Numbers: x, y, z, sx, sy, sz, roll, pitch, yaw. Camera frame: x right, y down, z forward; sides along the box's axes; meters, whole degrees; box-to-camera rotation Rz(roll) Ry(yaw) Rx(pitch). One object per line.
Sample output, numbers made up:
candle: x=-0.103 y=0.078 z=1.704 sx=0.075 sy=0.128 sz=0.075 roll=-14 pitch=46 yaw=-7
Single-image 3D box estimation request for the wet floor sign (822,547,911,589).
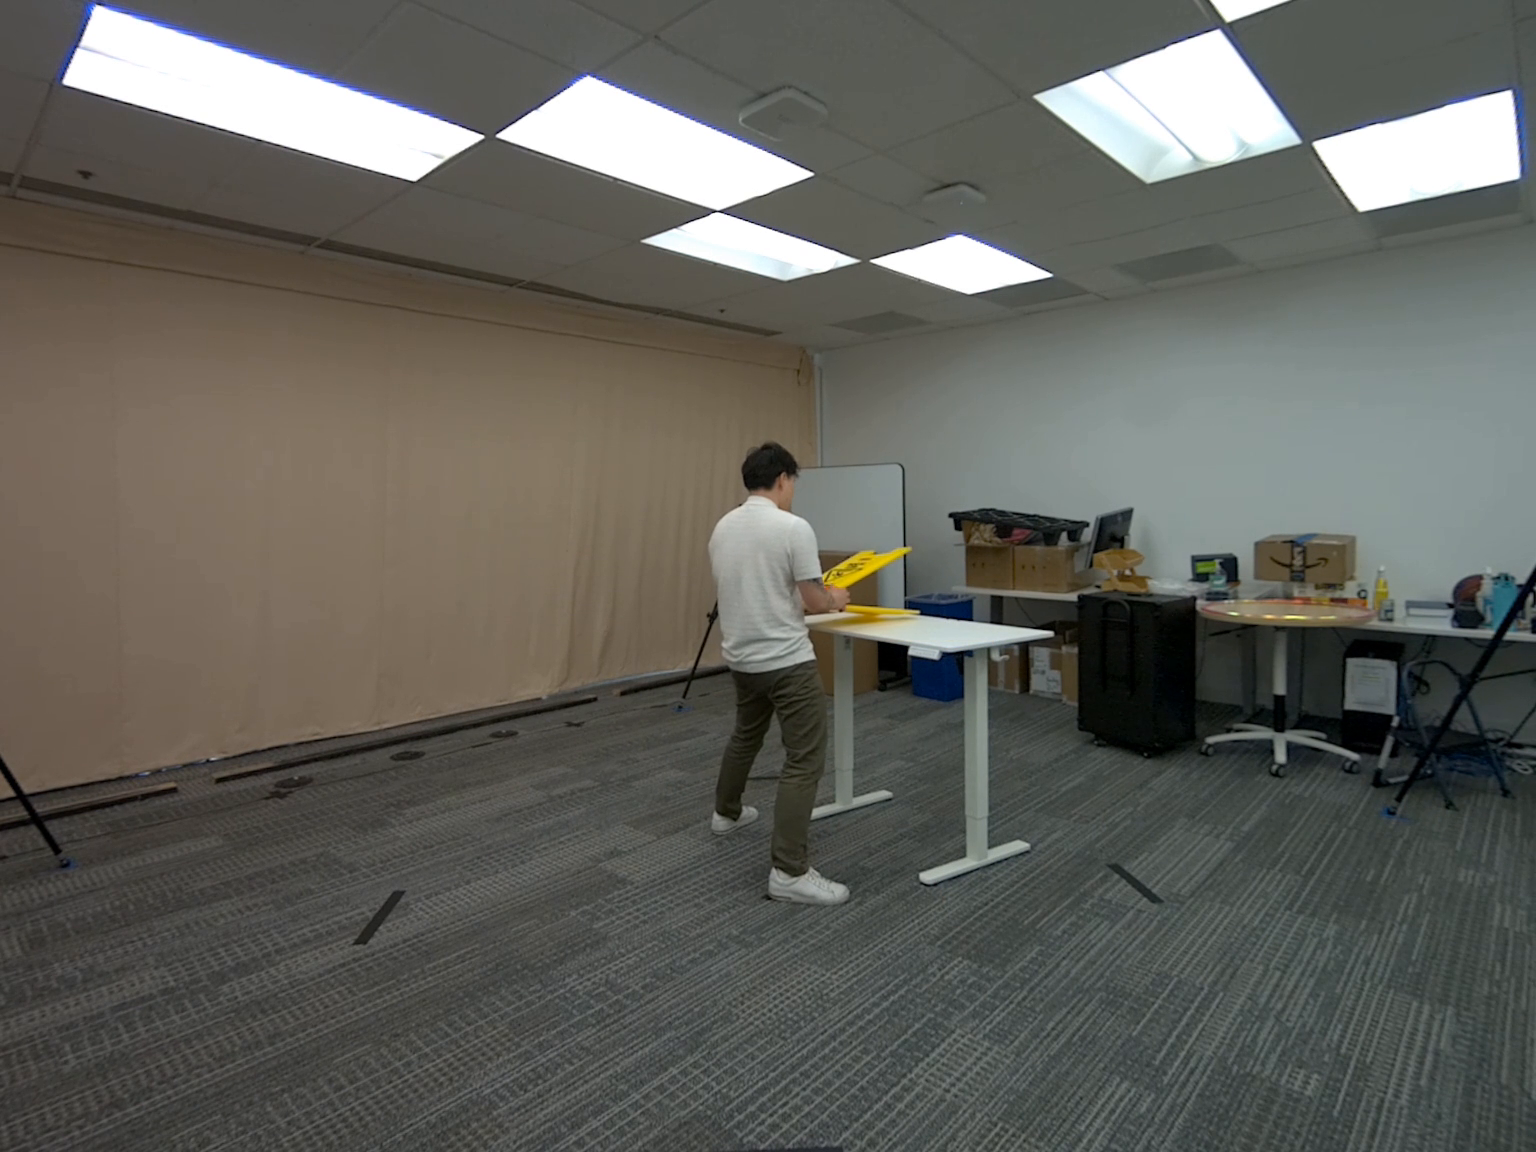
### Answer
wet floor sign: x=0.332 y=0.070 z=3.582 sx=0.628 sy=0.289 sz=0.291 roll=-9 pitch=4 yaw=-42
